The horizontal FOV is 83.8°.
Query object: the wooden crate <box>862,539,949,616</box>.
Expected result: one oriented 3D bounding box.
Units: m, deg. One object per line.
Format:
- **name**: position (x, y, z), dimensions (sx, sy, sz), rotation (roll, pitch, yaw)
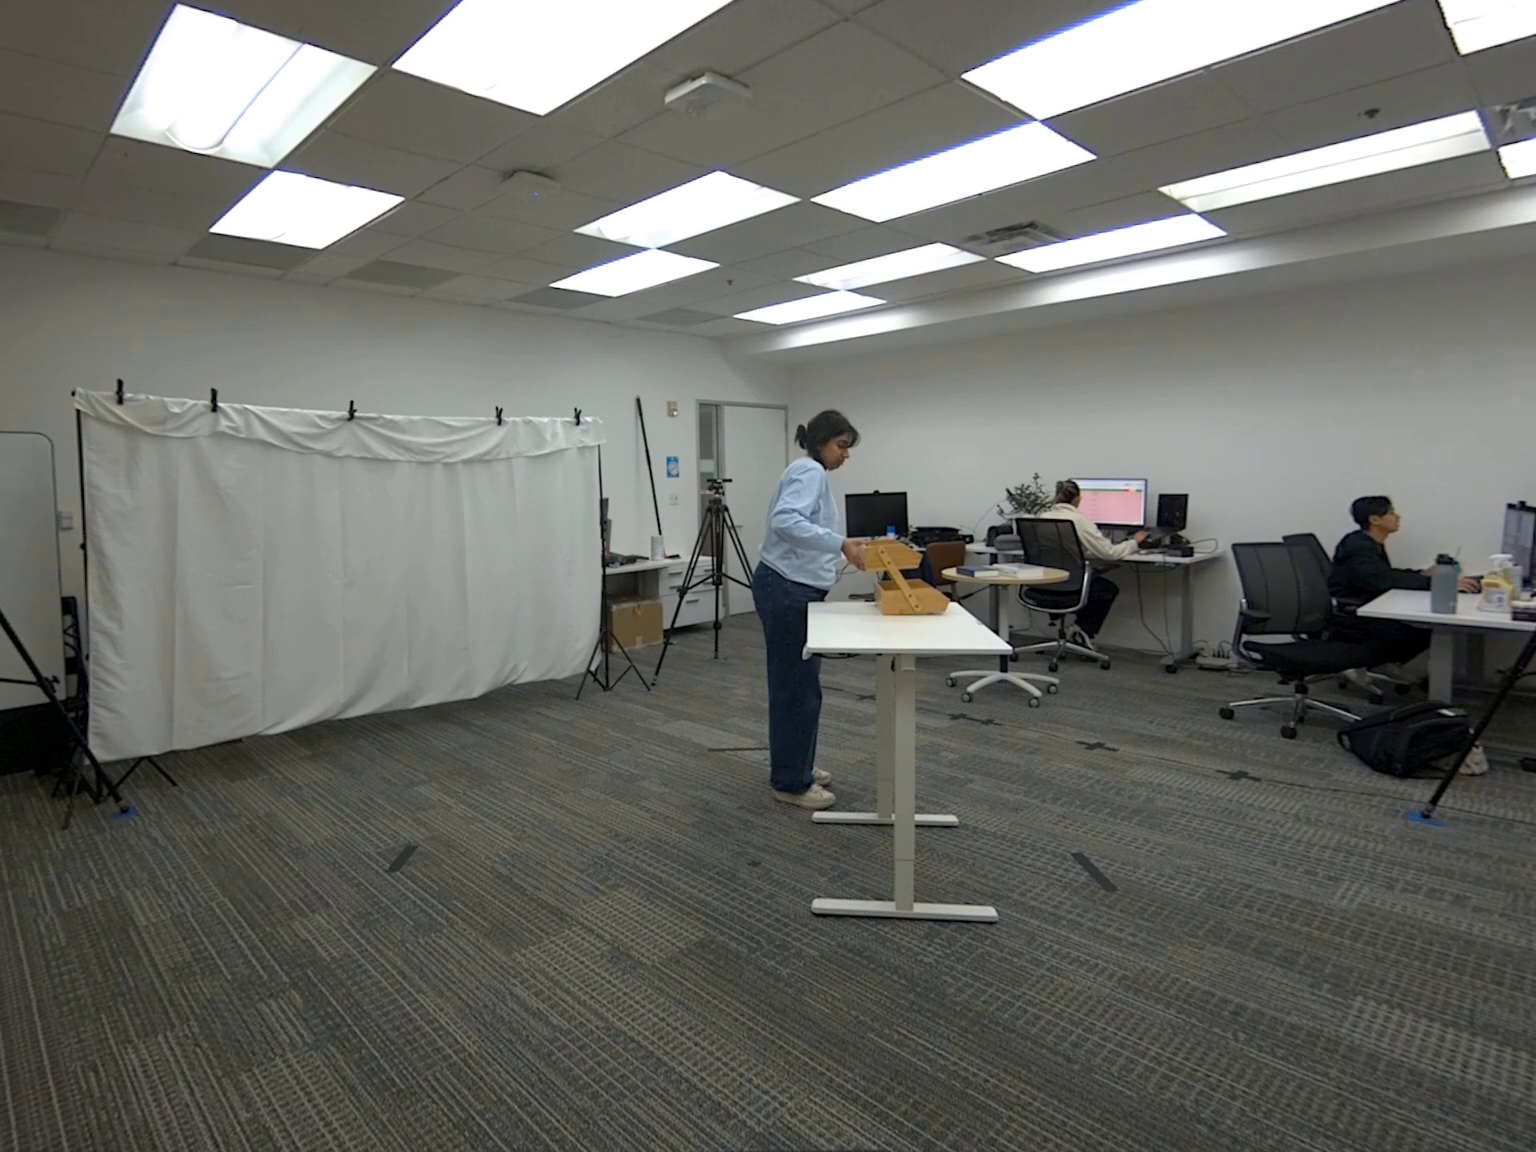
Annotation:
- **wooden crate**: position (0.520, -0.004, 3.321), dimensions (0.302, 0.272, 0.326), rotation (-3, 5, 0)
